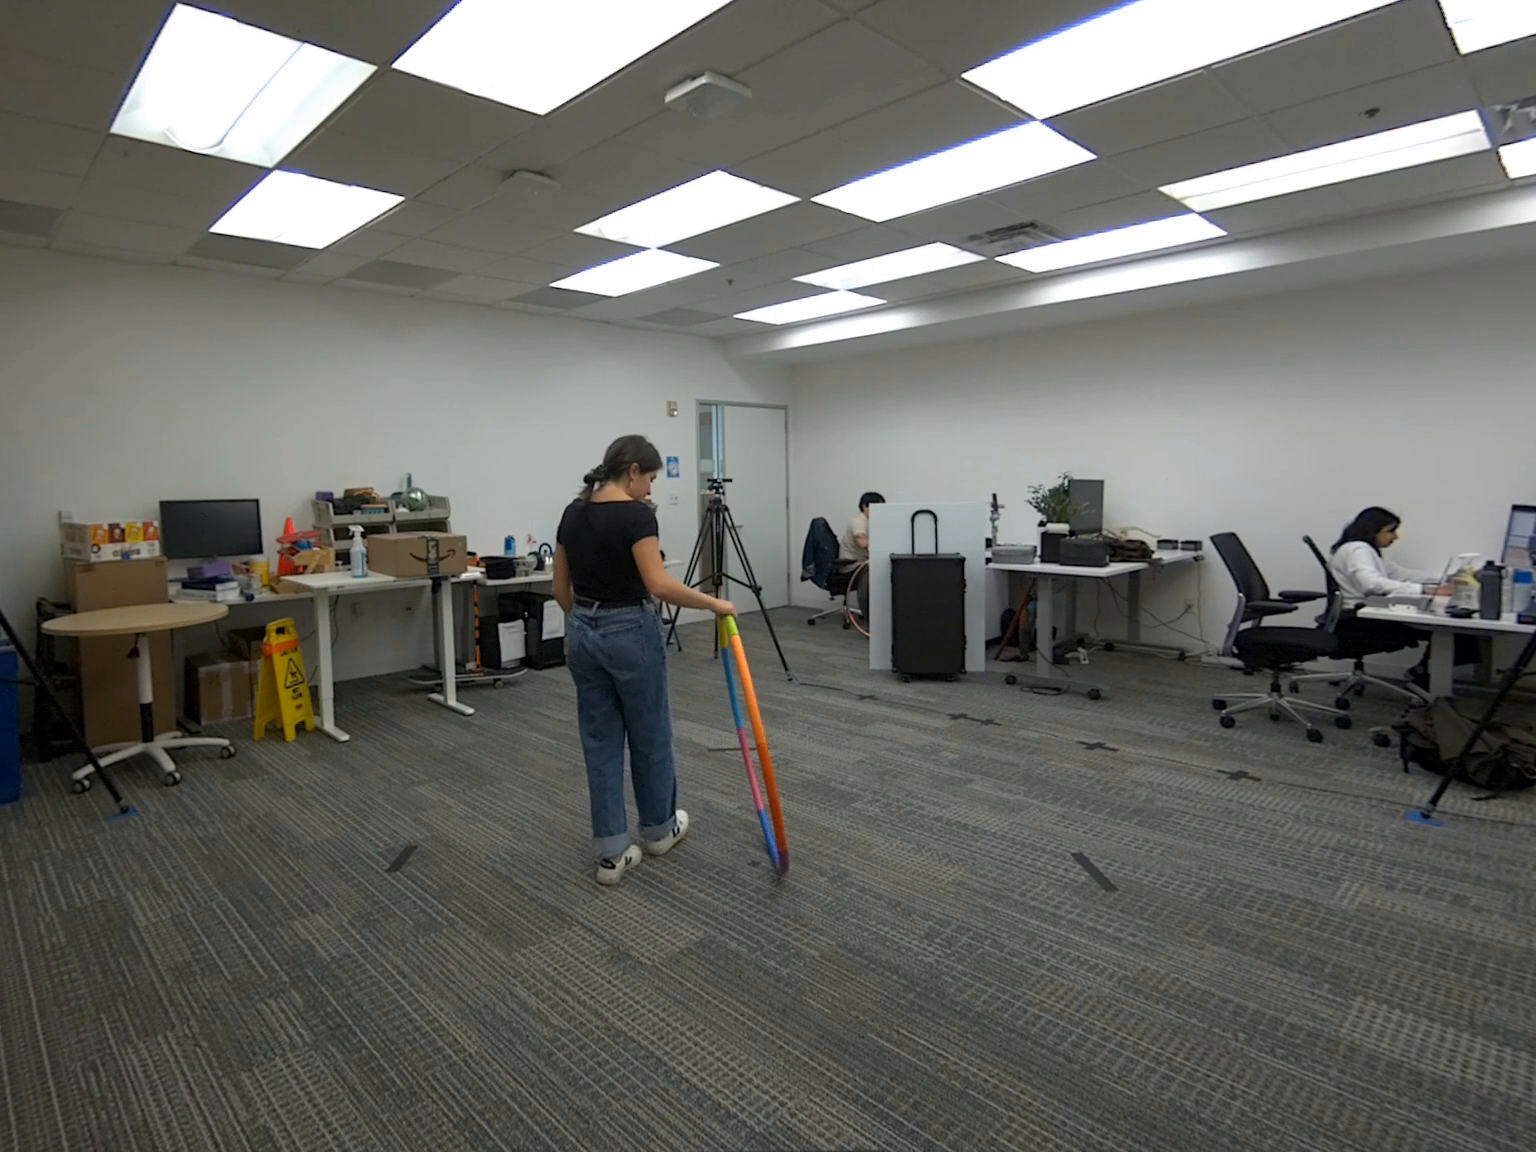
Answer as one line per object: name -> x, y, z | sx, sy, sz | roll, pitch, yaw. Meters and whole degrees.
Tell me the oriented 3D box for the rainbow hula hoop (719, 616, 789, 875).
rainbow hula hoop -> -0.068, 0.576, 3.096 | 0.035, 0.973, 0.989 | -13, 6, -7
